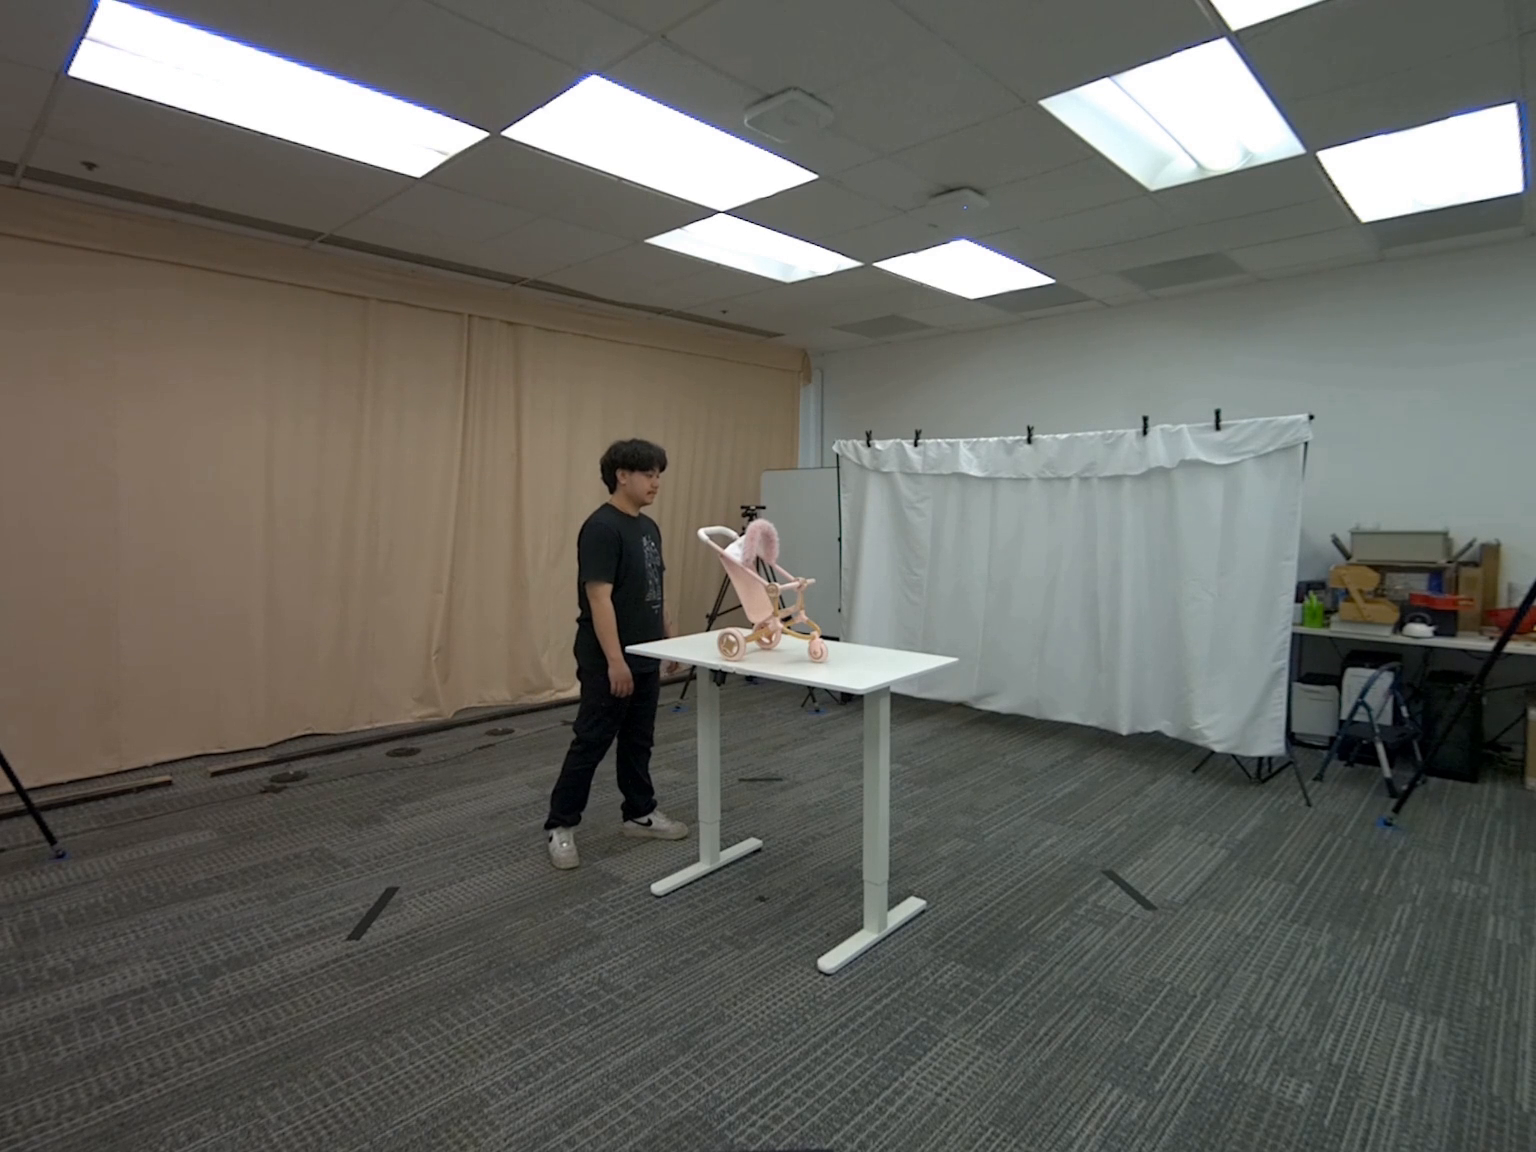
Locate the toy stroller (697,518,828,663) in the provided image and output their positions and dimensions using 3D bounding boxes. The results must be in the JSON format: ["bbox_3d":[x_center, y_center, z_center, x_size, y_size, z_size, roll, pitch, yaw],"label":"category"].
[{"bbox_3d":[-0.002,0.052,2.826,0.349,0.537,0.273,-16,-6,34],"label":"toy stroller"}]
